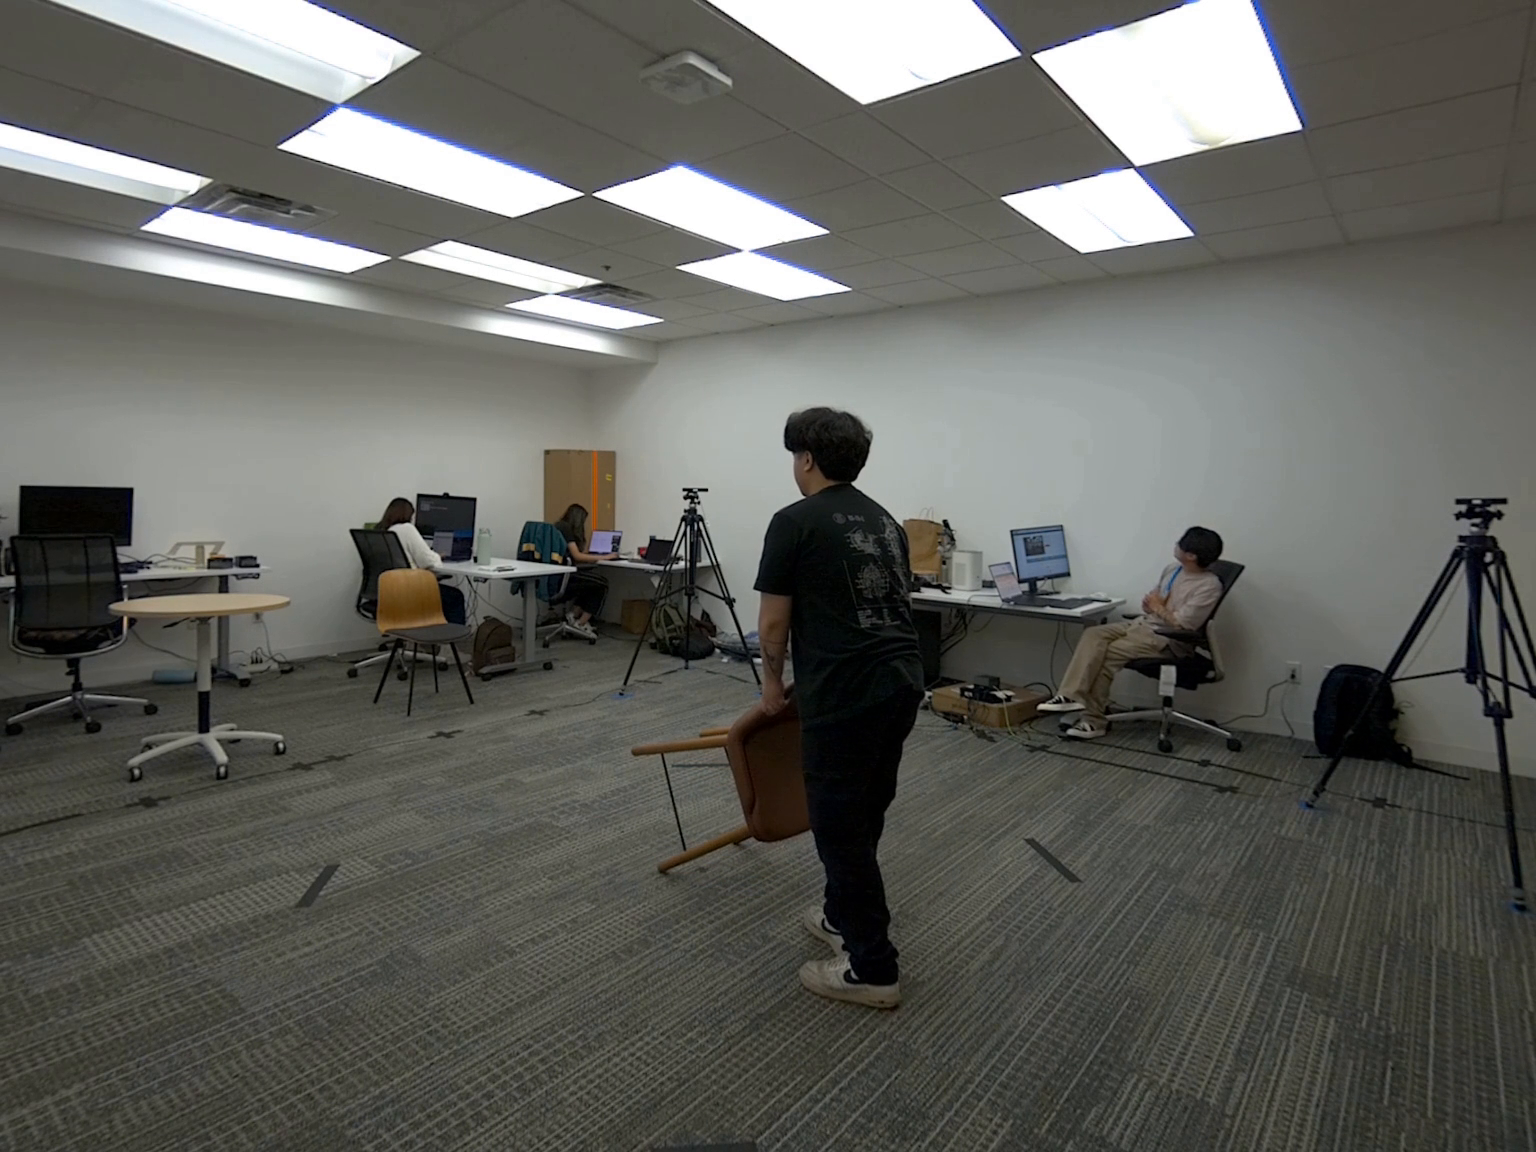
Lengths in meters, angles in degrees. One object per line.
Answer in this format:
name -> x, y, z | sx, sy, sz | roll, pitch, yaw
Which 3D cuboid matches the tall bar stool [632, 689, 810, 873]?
tall bar stool -> -0.052, 0.684, 2.982 | 0.442, 0.477, 0.899 | -1, -23, -46
